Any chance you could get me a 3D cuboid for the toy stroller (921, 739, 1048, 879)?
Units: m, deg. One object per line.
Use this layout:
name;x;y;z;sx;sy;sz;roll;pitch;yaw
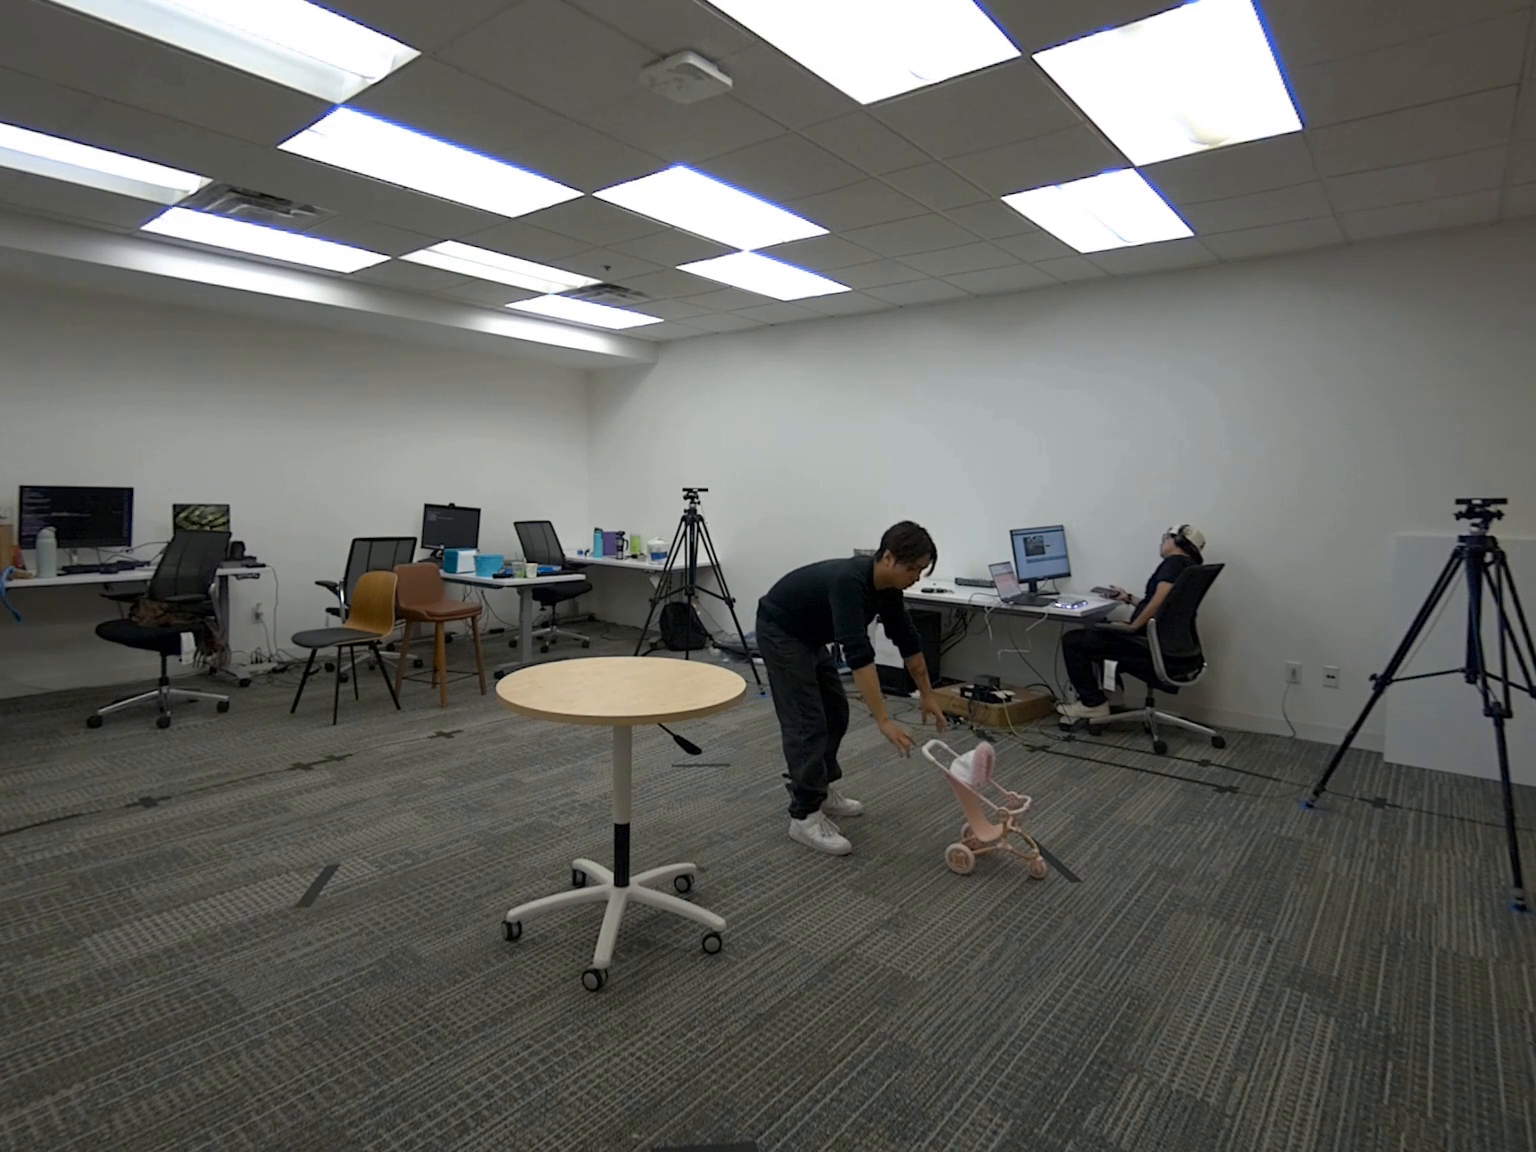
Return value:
toy stroller;0.814;0.861;3.194;0.348;0.539;0.274;-17;-7;33
